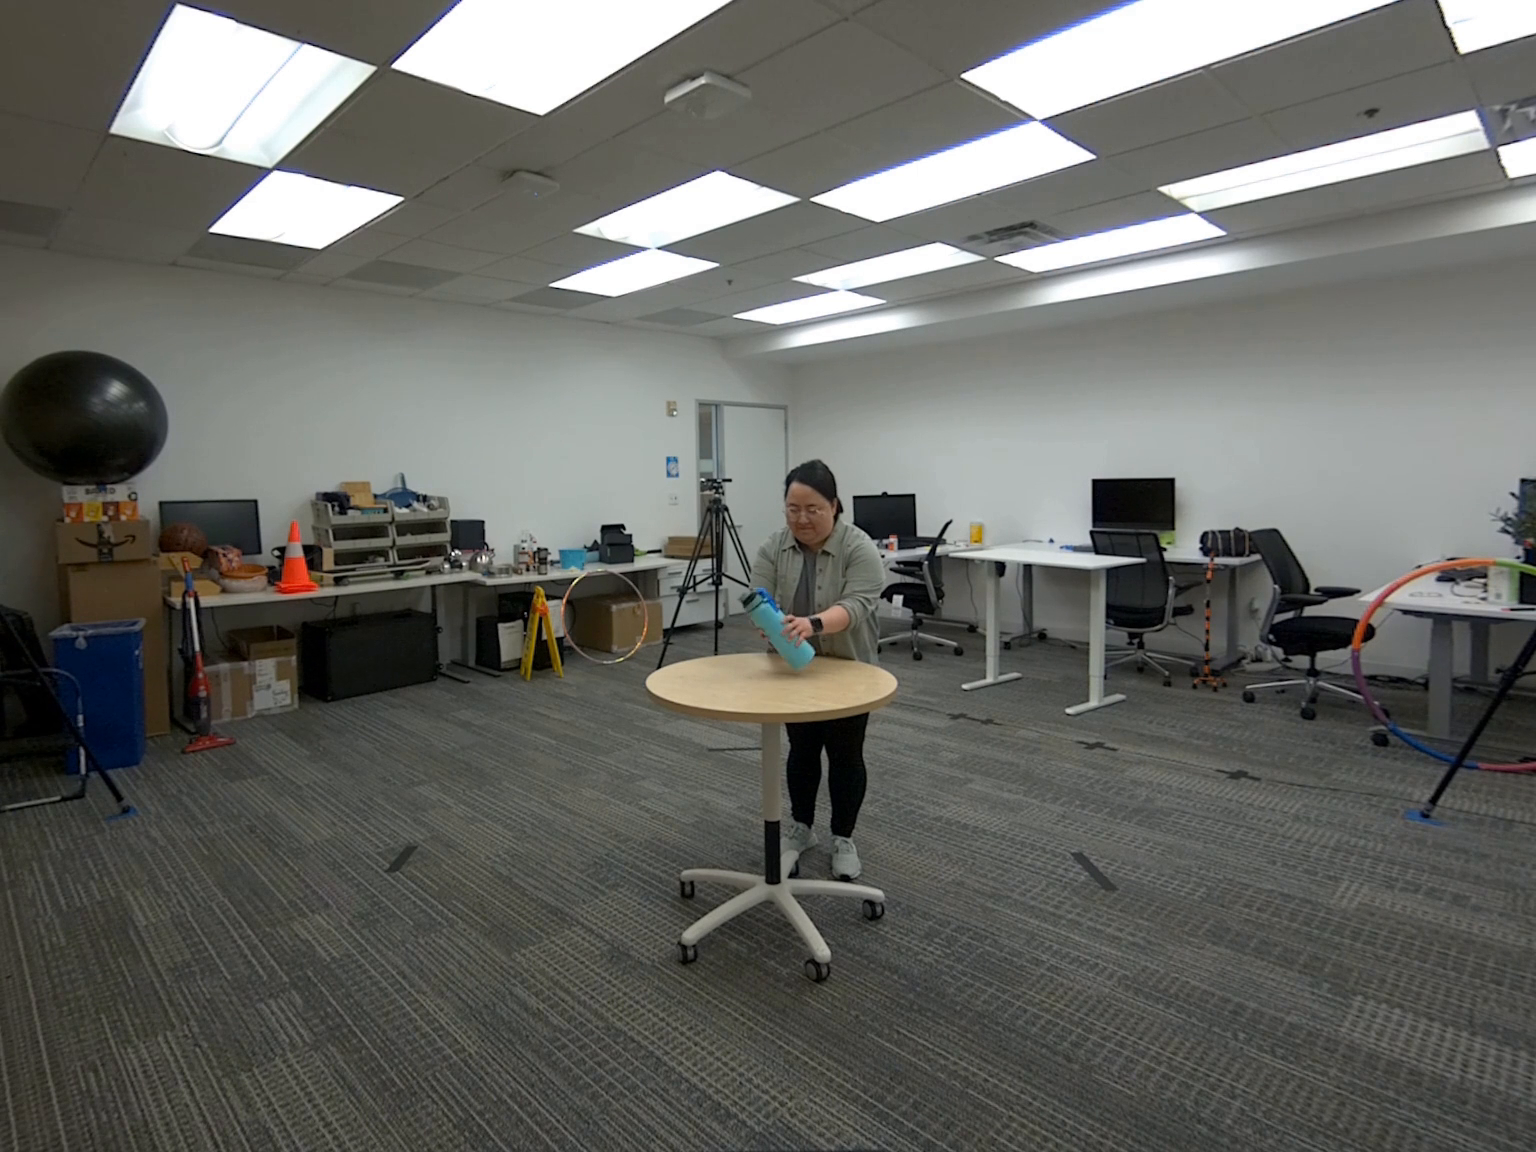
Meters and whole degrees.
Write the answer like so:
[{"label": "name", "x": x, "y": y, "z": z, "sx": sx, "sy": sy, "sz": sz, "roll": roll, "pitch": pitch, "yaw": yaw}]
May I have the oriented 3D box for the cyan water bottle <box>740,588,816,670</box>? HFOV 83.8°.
[{"label": "cyan water bottle", "x": 0.031, "y": 0.167, "z": 2.646, "sx": 0.092, "sy": 0.282, "sz": 0.093, "roll": -37, "pitch": 4, "yaw": 2}]
